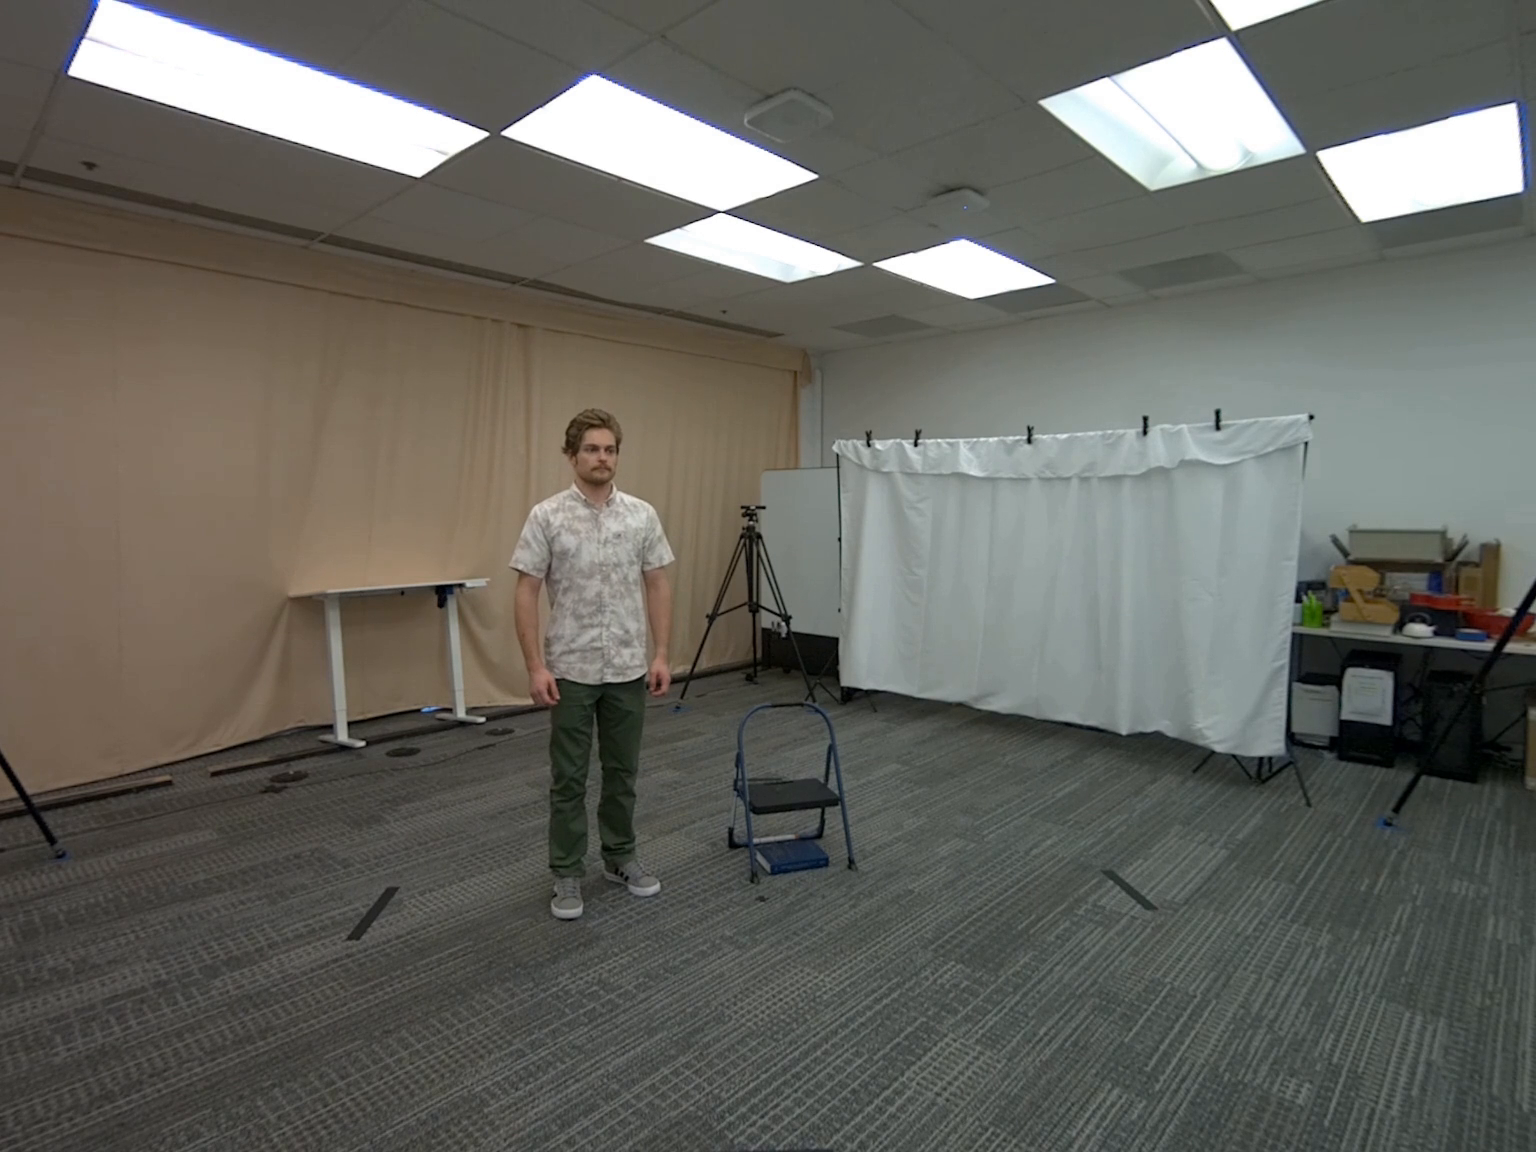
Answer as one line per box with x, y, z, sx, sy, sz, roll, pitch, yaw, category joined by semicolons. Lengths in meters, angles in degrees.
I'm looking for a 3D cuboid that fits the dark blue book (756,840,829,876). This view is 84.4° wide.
0.101;1.095;3.283;0.240;0.045;0.167;-3;6;-19;dark blue book
